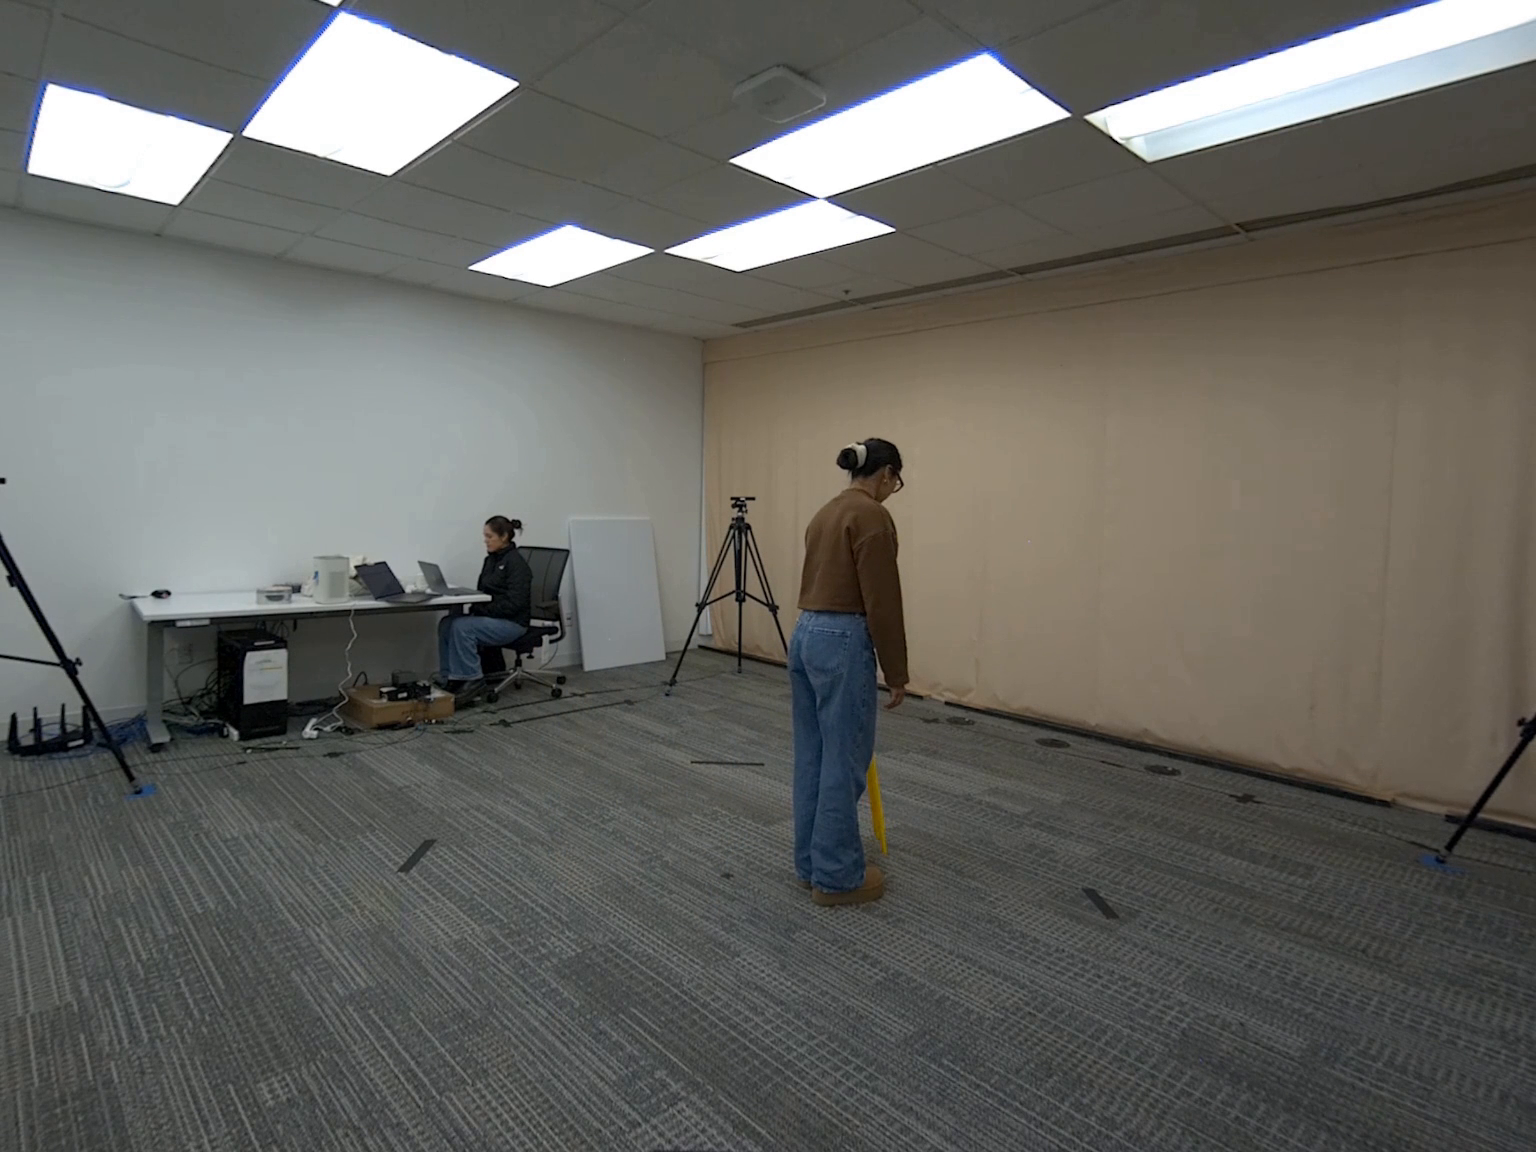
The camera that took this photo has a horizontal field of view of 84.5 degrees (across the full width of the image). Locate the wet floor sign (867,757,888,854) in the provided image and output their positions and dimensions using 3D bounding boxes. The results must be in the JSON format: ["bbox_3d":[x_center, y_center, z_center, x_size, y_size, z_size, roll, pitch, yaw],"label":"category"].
[{"bbox_3d":[0.335,0.725,3.322,0.290,0.647,0.281,4,-3,1],"label":"wet floor sign"}]
